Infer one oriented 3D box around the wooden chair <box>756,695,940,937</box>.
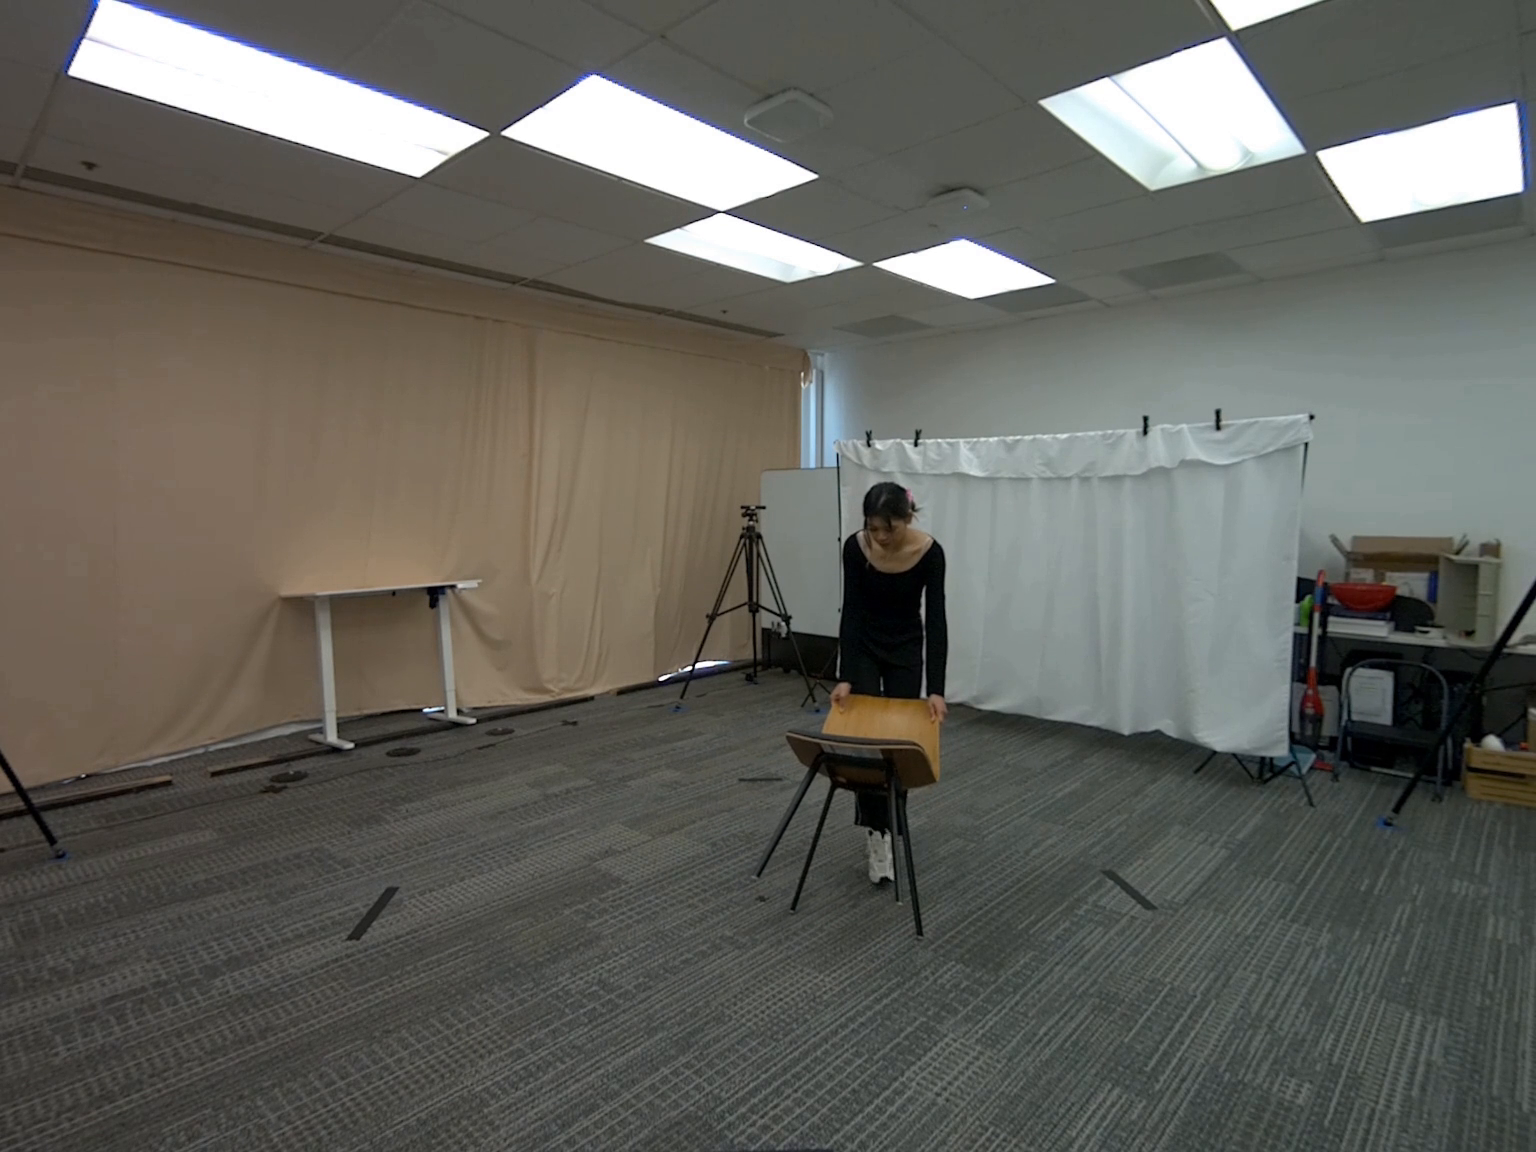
[{"bbox_3d":[0.312,0.669,2.835,0.490,0.883,0.507,1,-36,23],"label":"wooden chair"}]
